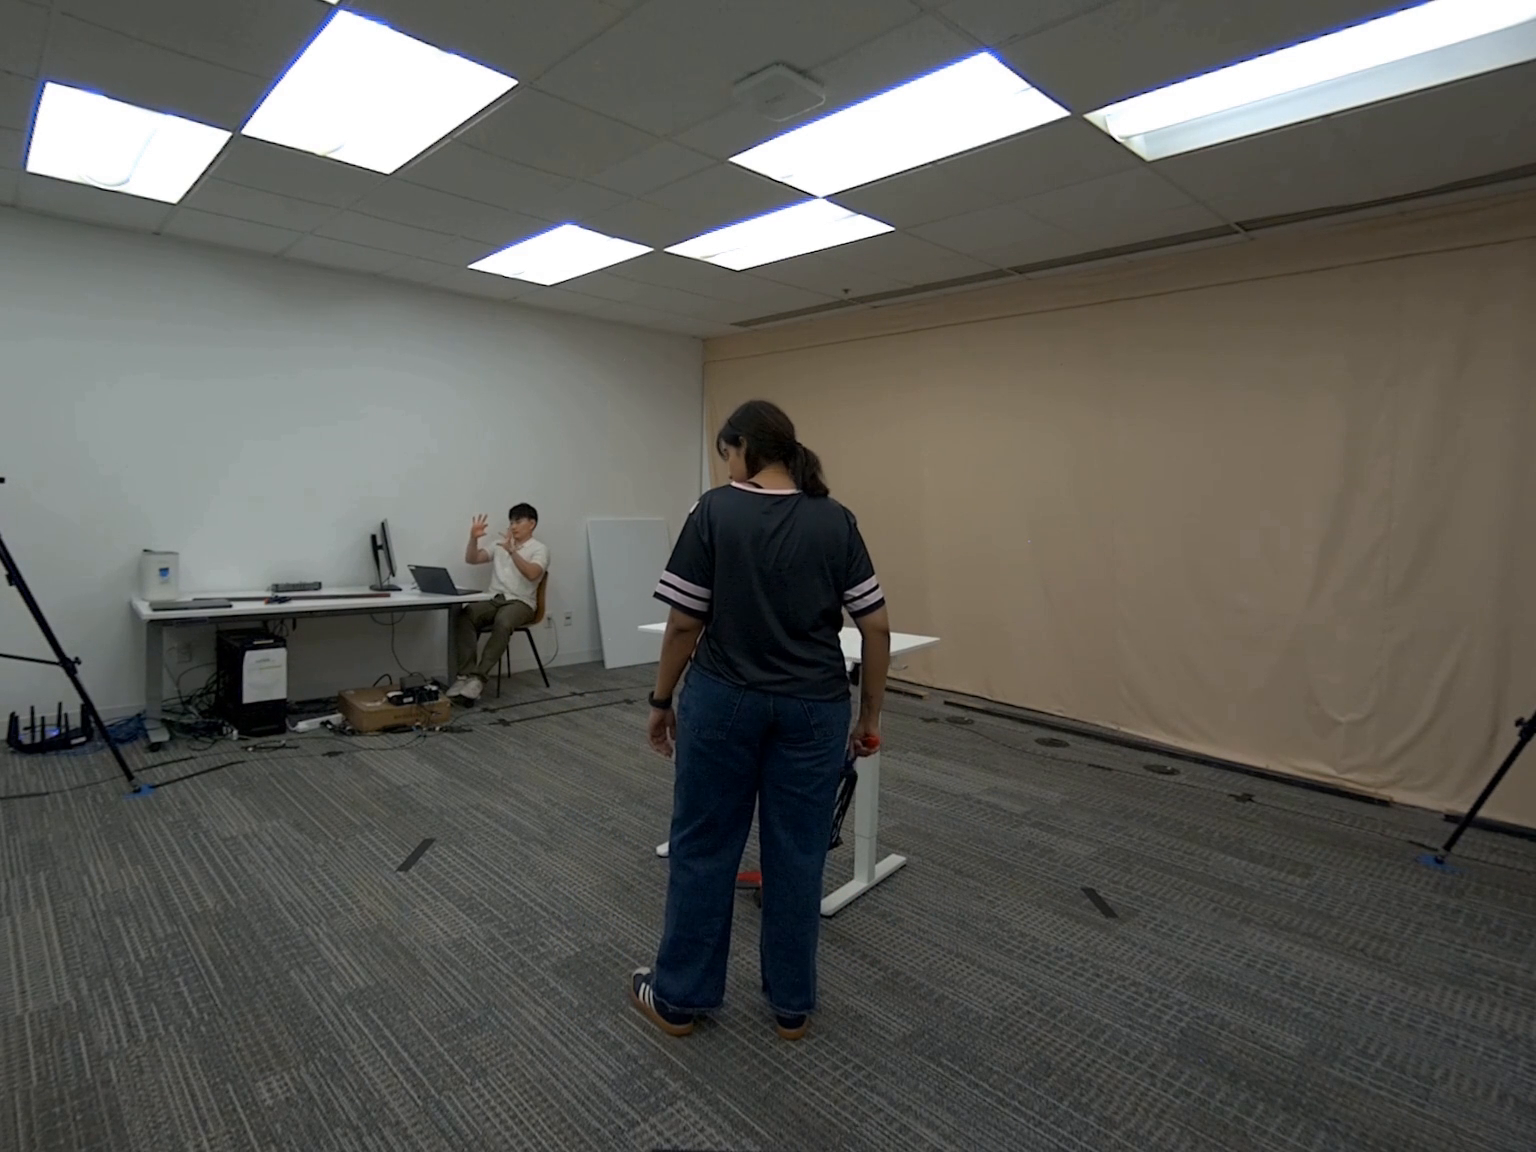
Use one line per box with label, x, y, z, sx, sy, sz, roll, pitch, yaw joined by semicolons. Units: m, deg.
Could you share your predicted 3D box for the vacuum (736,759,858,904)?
vacuum;0.143;0.774;2.552;0.249;0.148;1.037;-1;-38;-21
